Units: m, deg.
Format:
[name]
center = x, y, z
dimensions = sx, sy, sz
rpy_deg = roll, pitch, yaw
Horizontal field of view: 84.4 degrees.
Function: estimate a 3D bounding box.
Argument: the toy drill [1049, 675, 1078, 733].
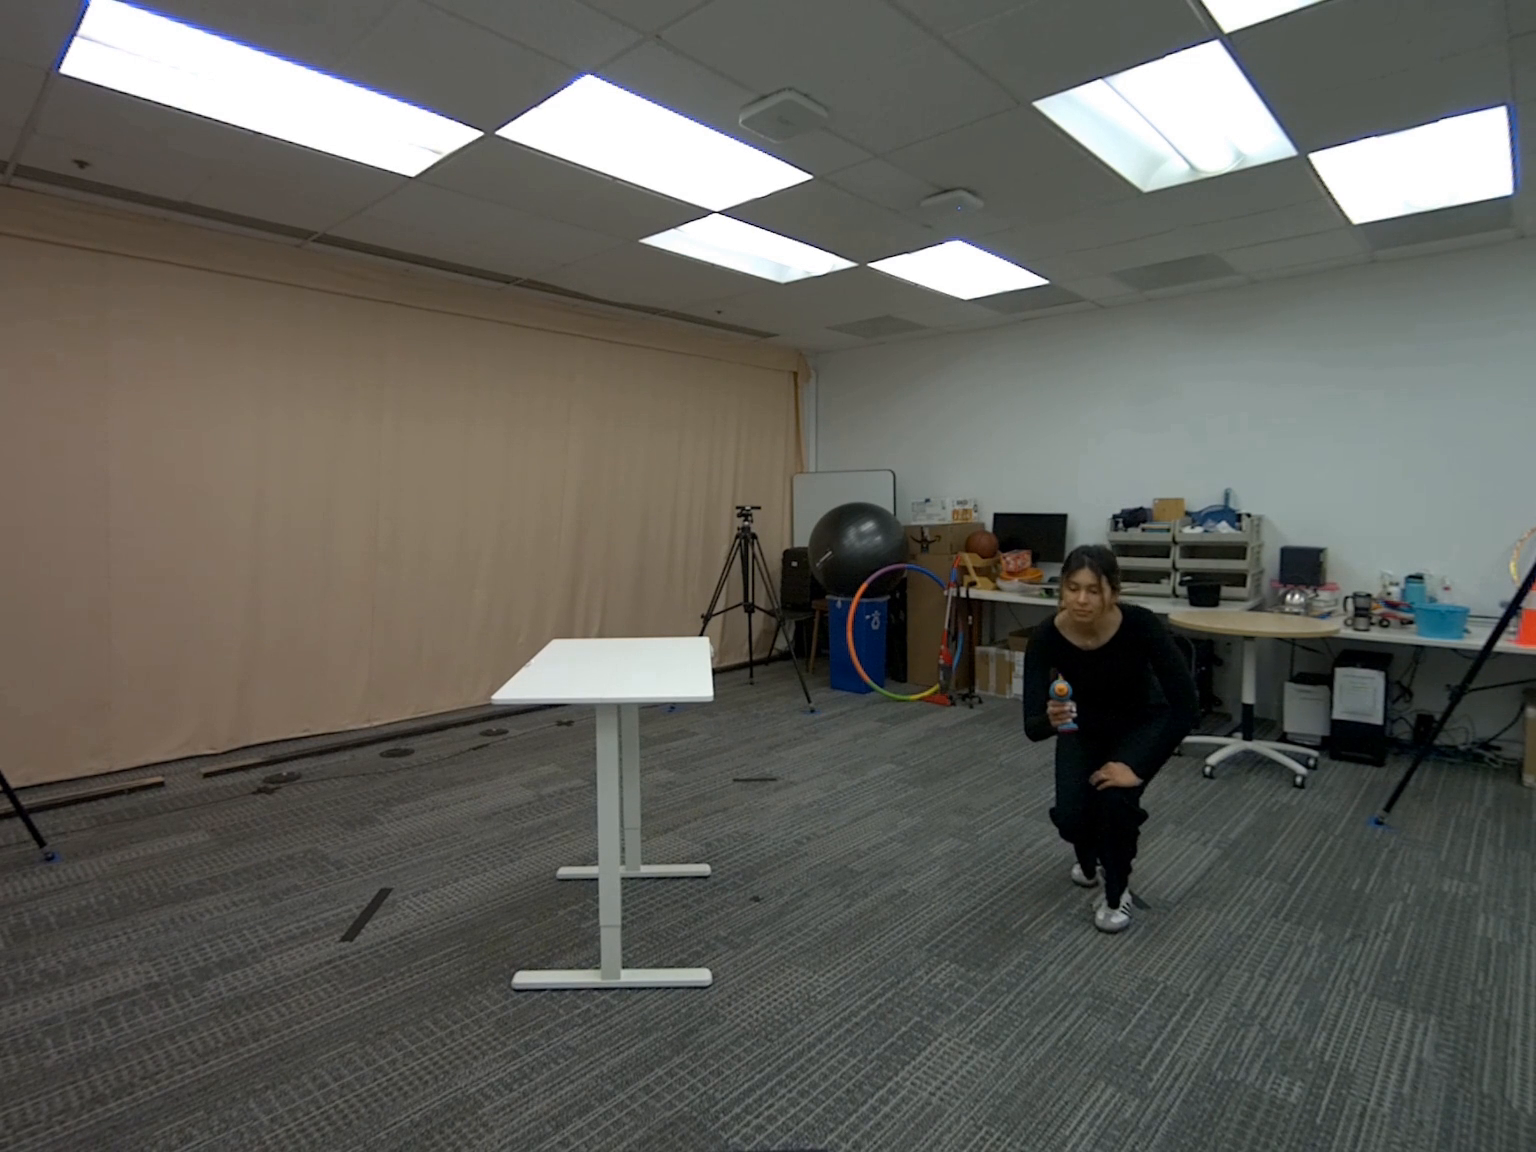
[toy drill]
center = 0.870, 0.373, 2.429
dimensions = 0.062, 0.148, 0.166
rpy_deg = -10, -17, 10
